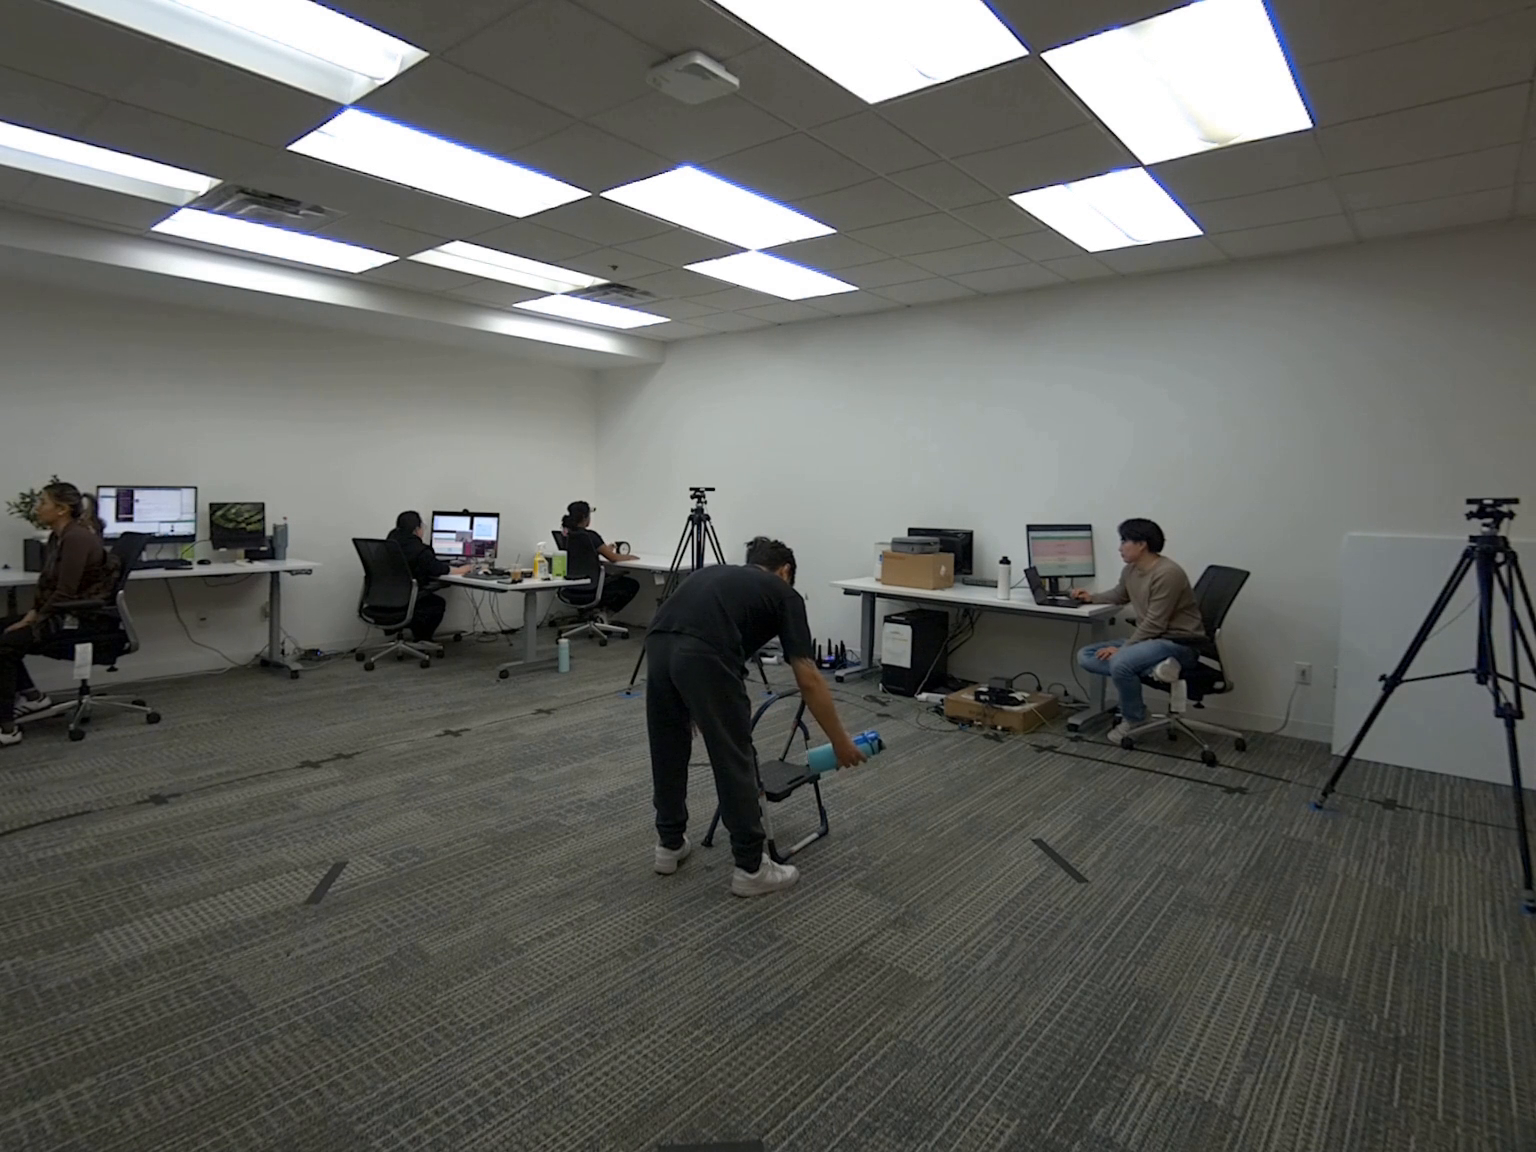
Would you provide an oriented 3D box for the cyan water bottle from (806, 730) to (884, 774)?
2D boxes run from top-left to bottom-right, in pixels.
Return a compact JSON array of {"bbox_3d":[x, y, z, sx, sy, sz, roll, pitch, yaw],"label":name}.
[{"bbox_3d":[0.267,0.634,3.070,0.284,0.092,0.092,-18,4,2],"label":"cyan water bottle"}]
